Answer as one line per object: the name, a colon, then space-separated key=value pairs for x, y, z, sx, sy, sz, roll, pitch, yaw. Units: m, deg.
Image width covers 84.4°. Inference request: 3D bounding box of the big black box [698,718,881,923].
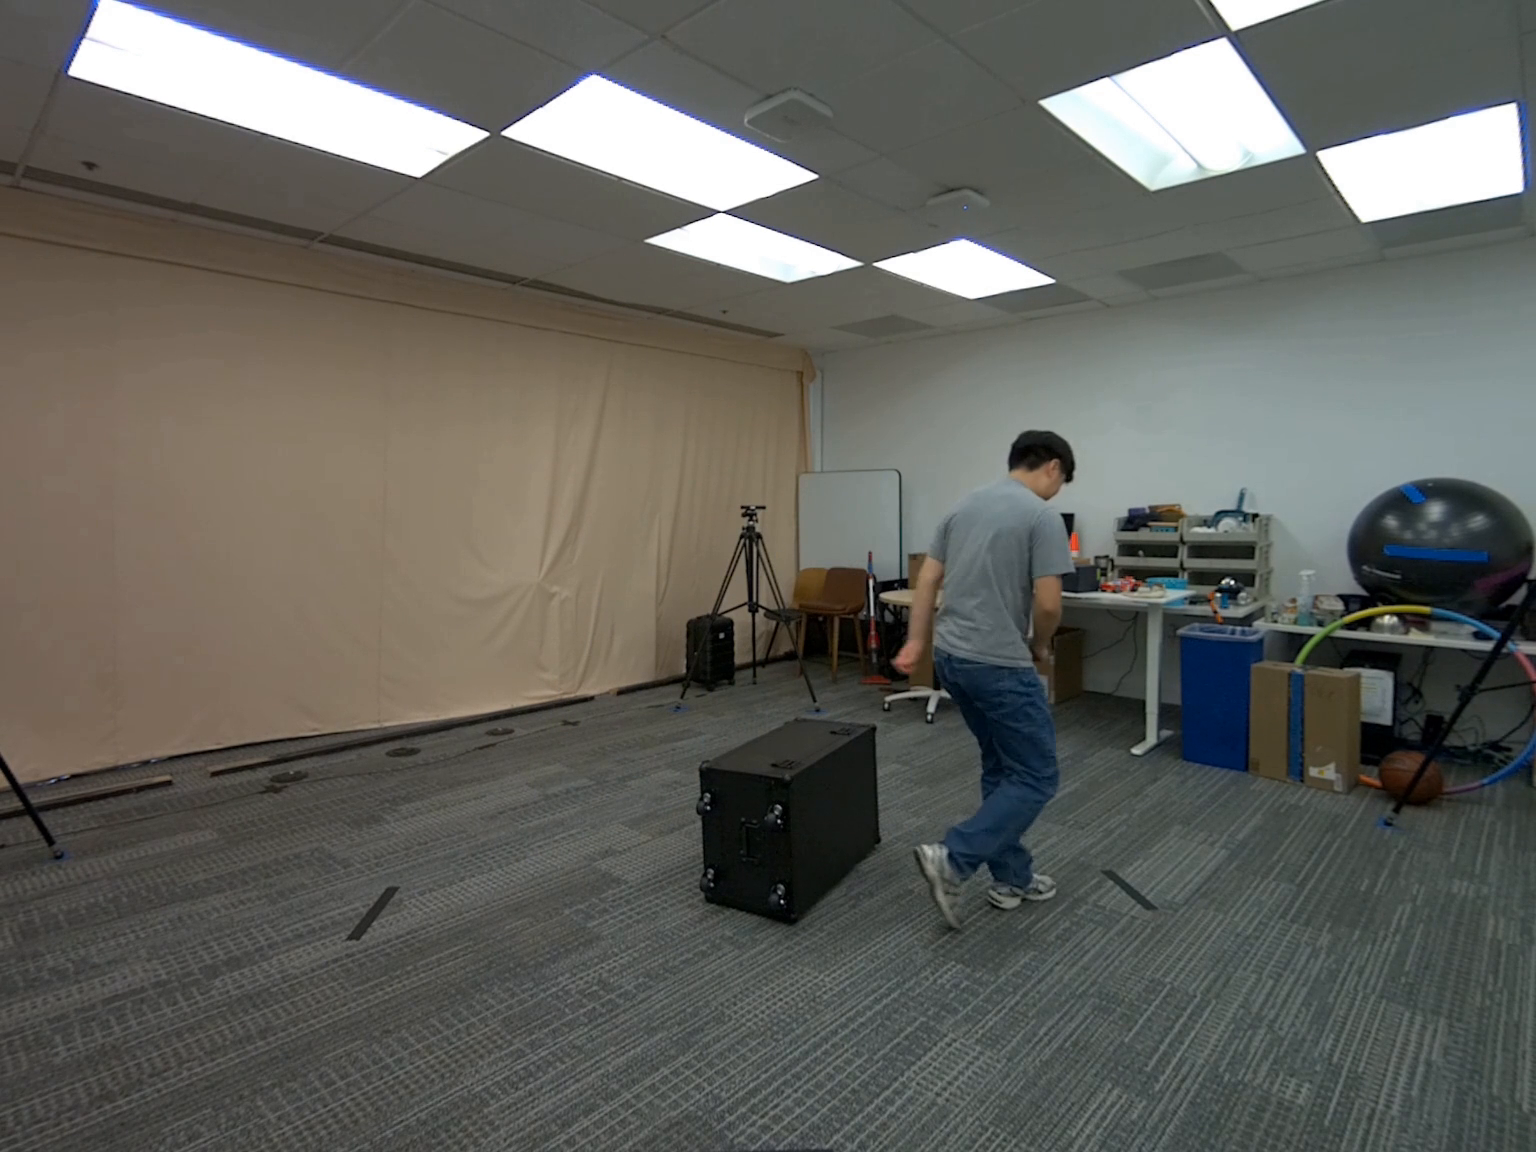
big black box: x=0.082 y=0.871 z=3.170 sx=0.407 sy=0.520 sz=0.839 roll=-1 pitch=3 yaw=29
